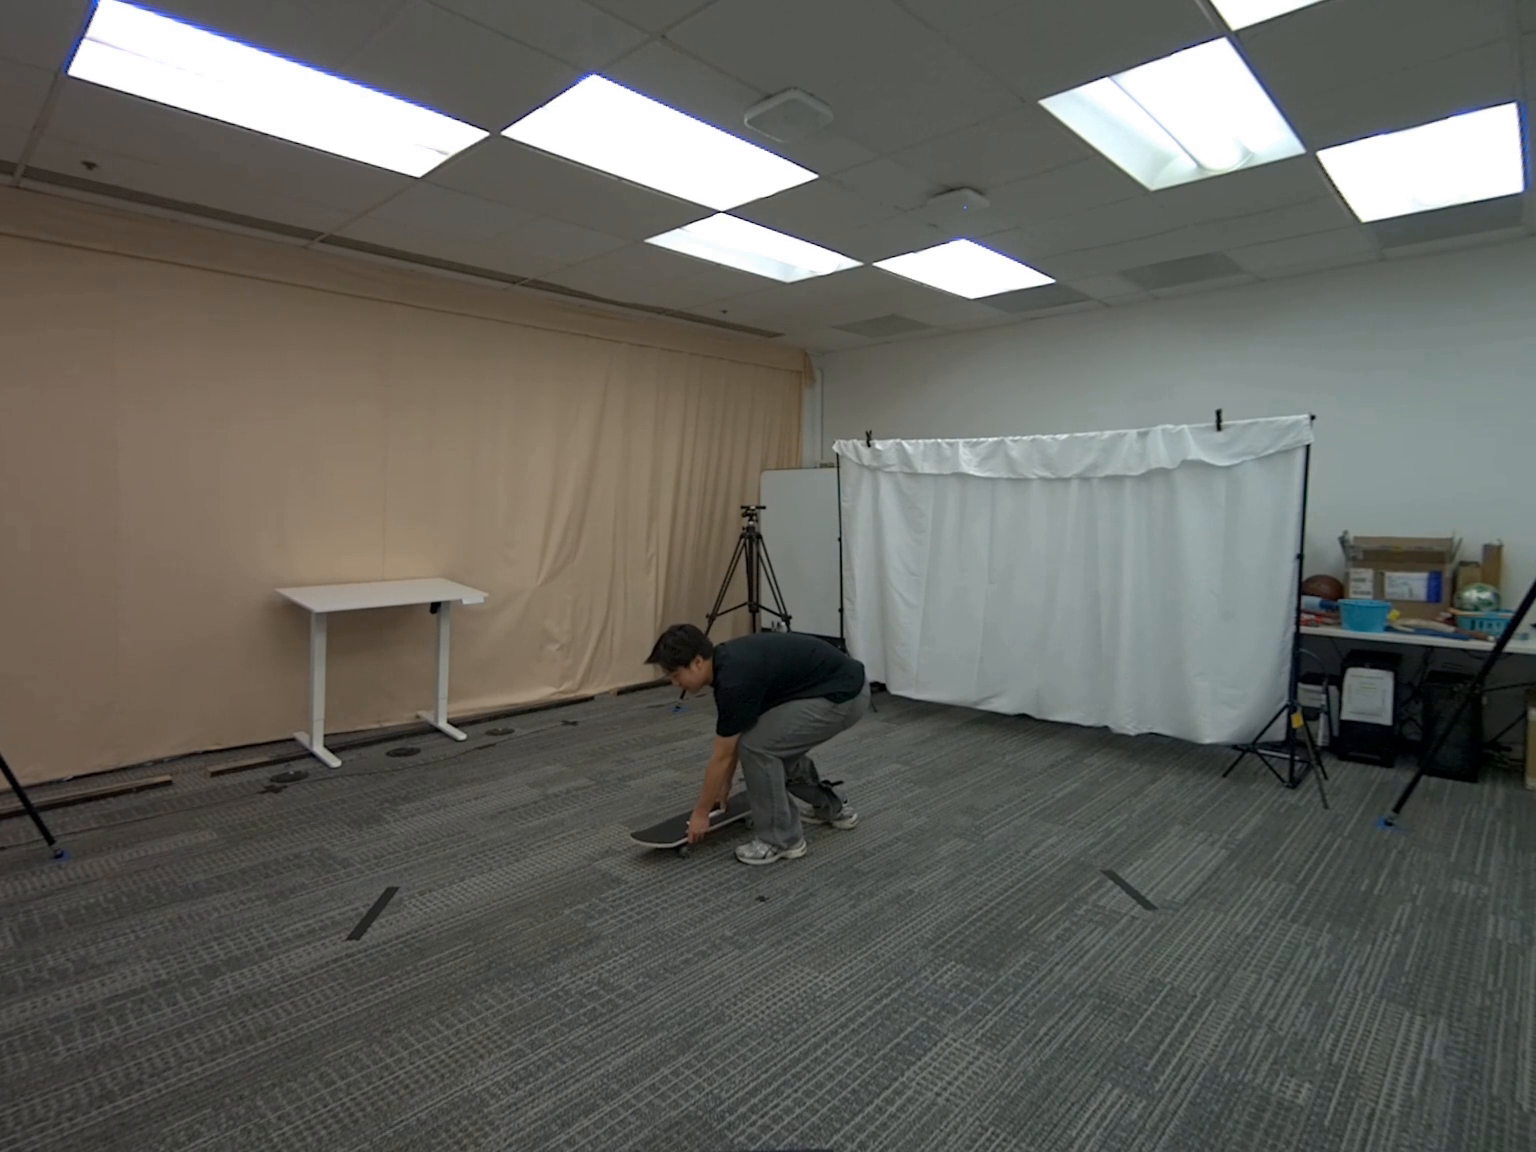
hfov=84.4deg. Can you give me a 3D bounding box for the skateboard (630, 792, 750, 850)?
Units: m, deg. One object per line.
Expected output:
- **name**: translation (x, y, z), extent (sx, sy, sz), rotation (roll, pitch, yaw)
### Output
- **skateboard**: translation (-0.257, 1.040, 3.526), extent (0.200, 0.110, 0.762), rotation (2, 5, 41)
